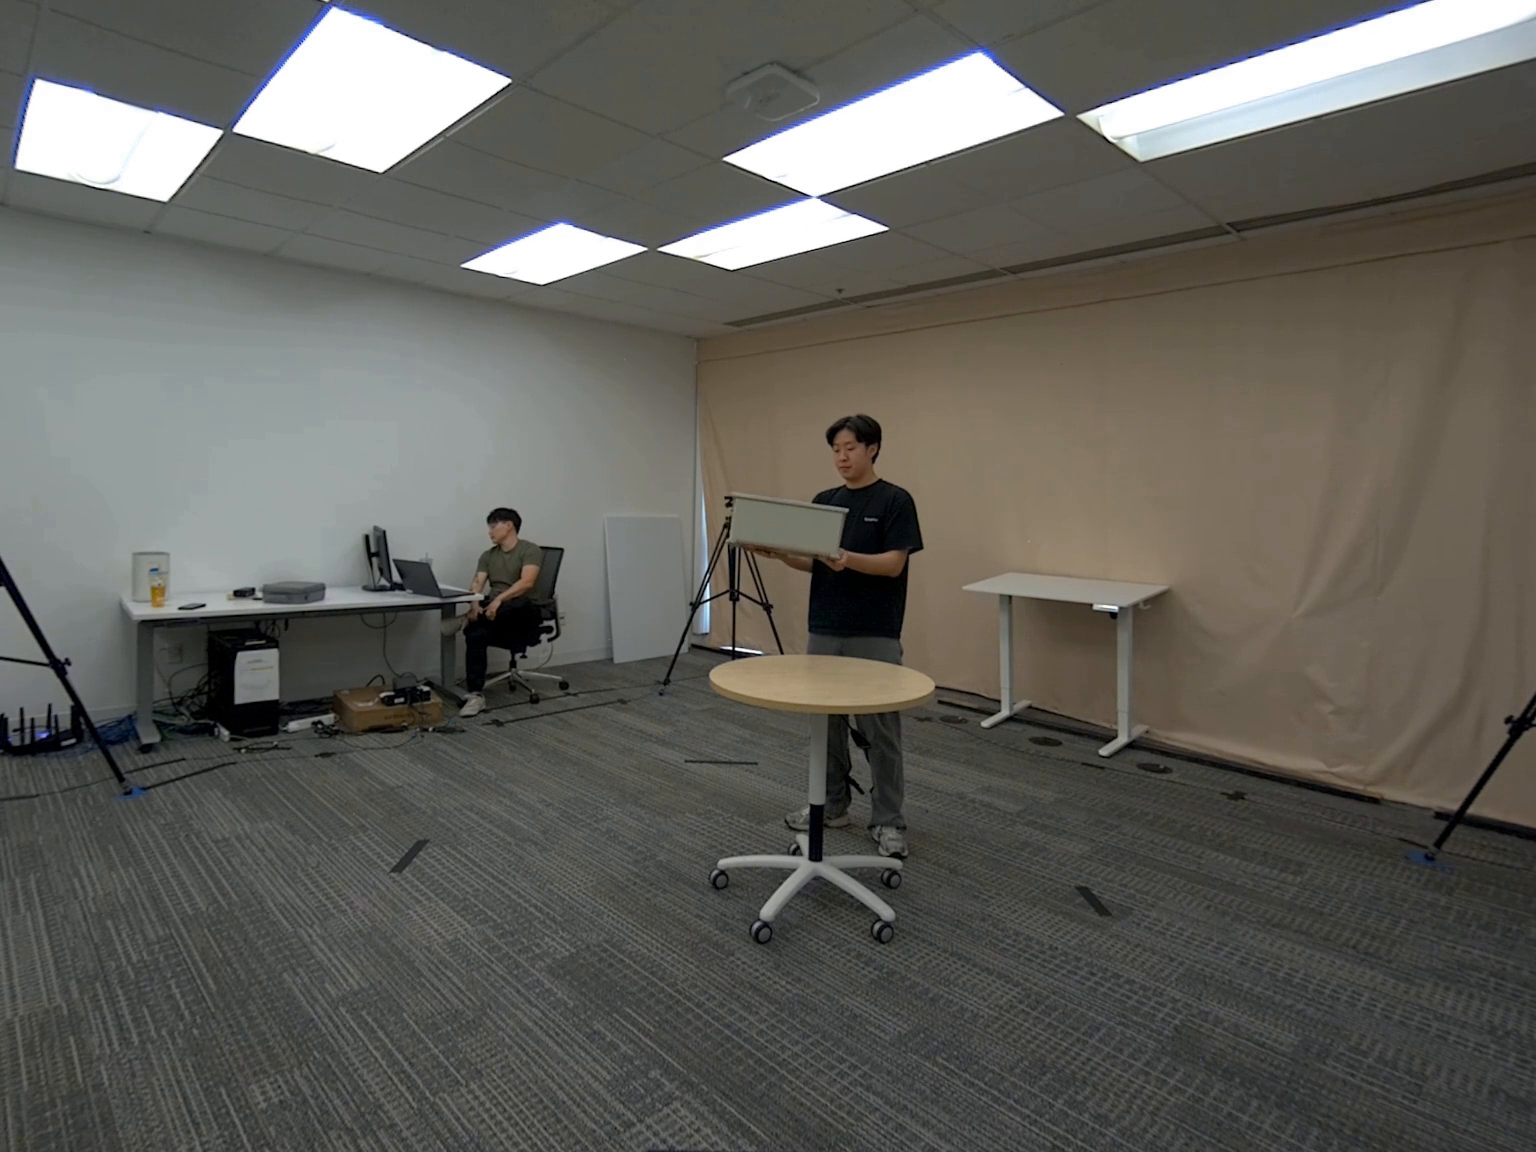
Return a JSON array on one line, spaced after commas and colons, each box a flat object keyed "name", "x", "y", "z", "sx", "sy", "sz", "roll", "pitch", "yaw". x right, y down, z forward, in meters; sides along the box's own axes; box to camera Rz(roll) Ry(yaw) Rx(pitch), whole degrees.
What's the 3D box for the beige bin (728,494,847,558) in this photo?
[{"name": "beige bin", "x": 0.060, "y": -0.181, "z": 3.183, "sx": 0.422, "sy": 0.189, "sz": 0.377, "roll": 7, "pitch": 0, "yaw": 0}]
